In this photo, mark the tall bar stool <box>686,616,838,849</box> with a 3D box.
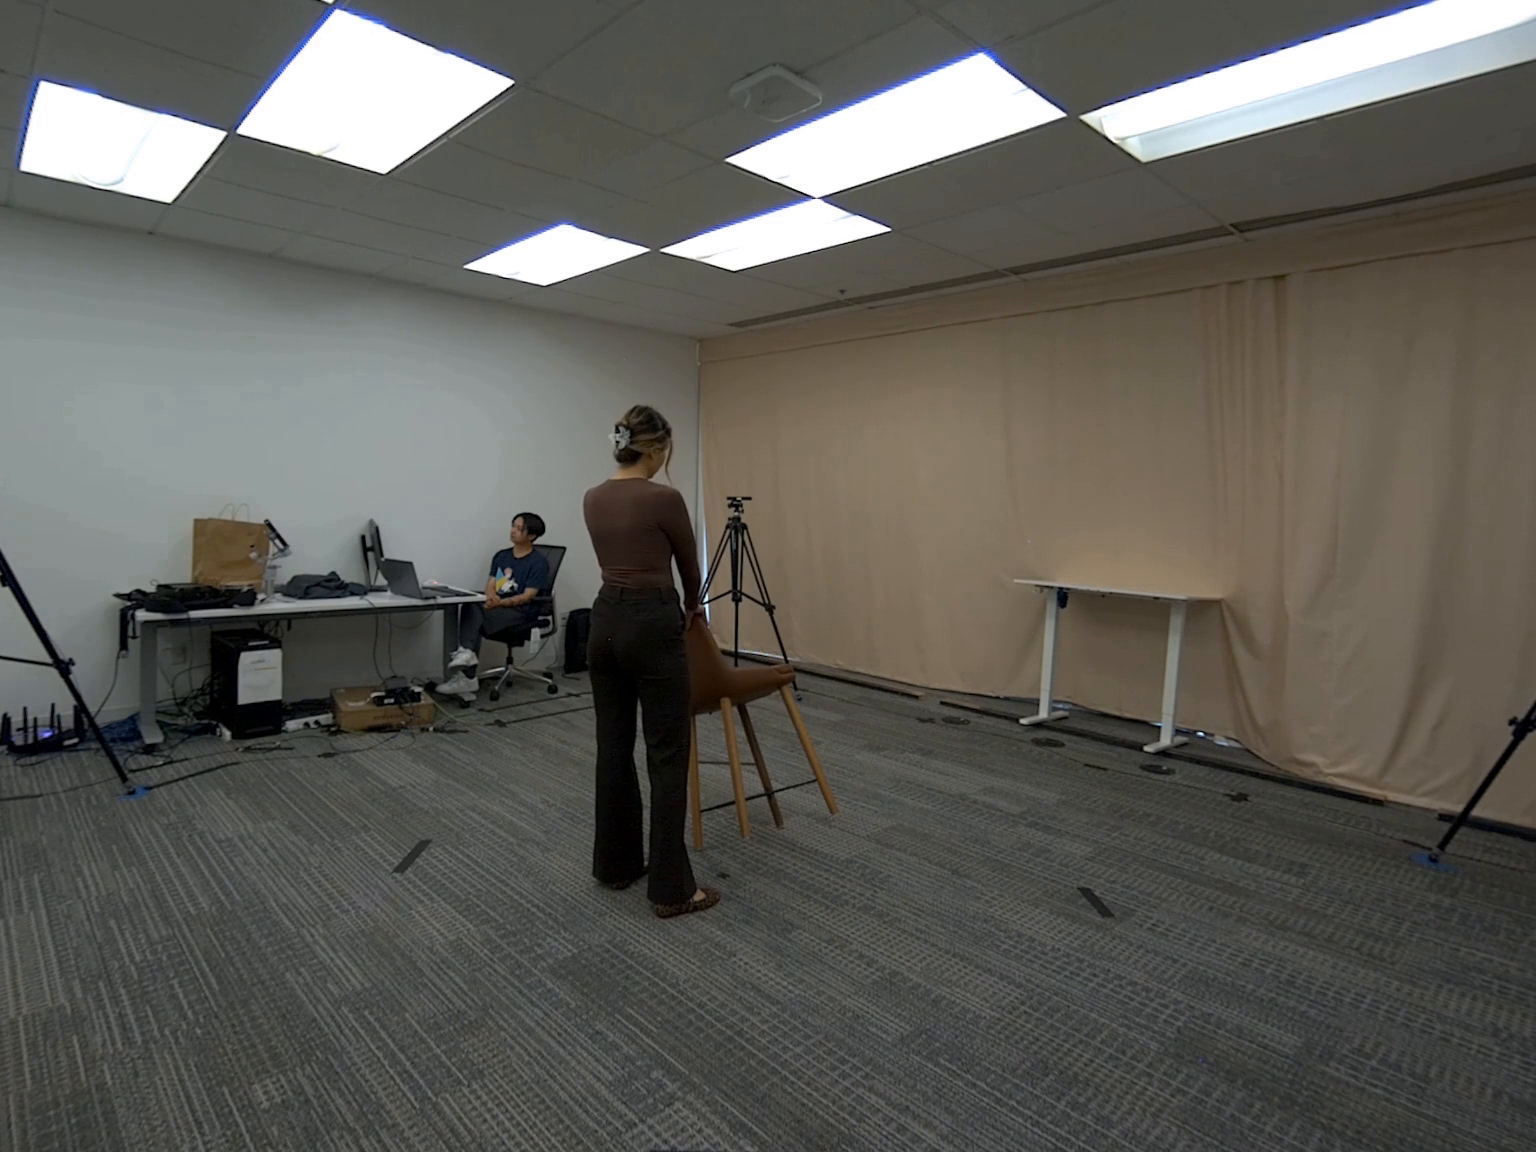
[{"bbox_3d":[-0.133,0.604,3.443,0.458,0.903,0.459,-5,-20,-37],"label":"tall bar stool"}]
